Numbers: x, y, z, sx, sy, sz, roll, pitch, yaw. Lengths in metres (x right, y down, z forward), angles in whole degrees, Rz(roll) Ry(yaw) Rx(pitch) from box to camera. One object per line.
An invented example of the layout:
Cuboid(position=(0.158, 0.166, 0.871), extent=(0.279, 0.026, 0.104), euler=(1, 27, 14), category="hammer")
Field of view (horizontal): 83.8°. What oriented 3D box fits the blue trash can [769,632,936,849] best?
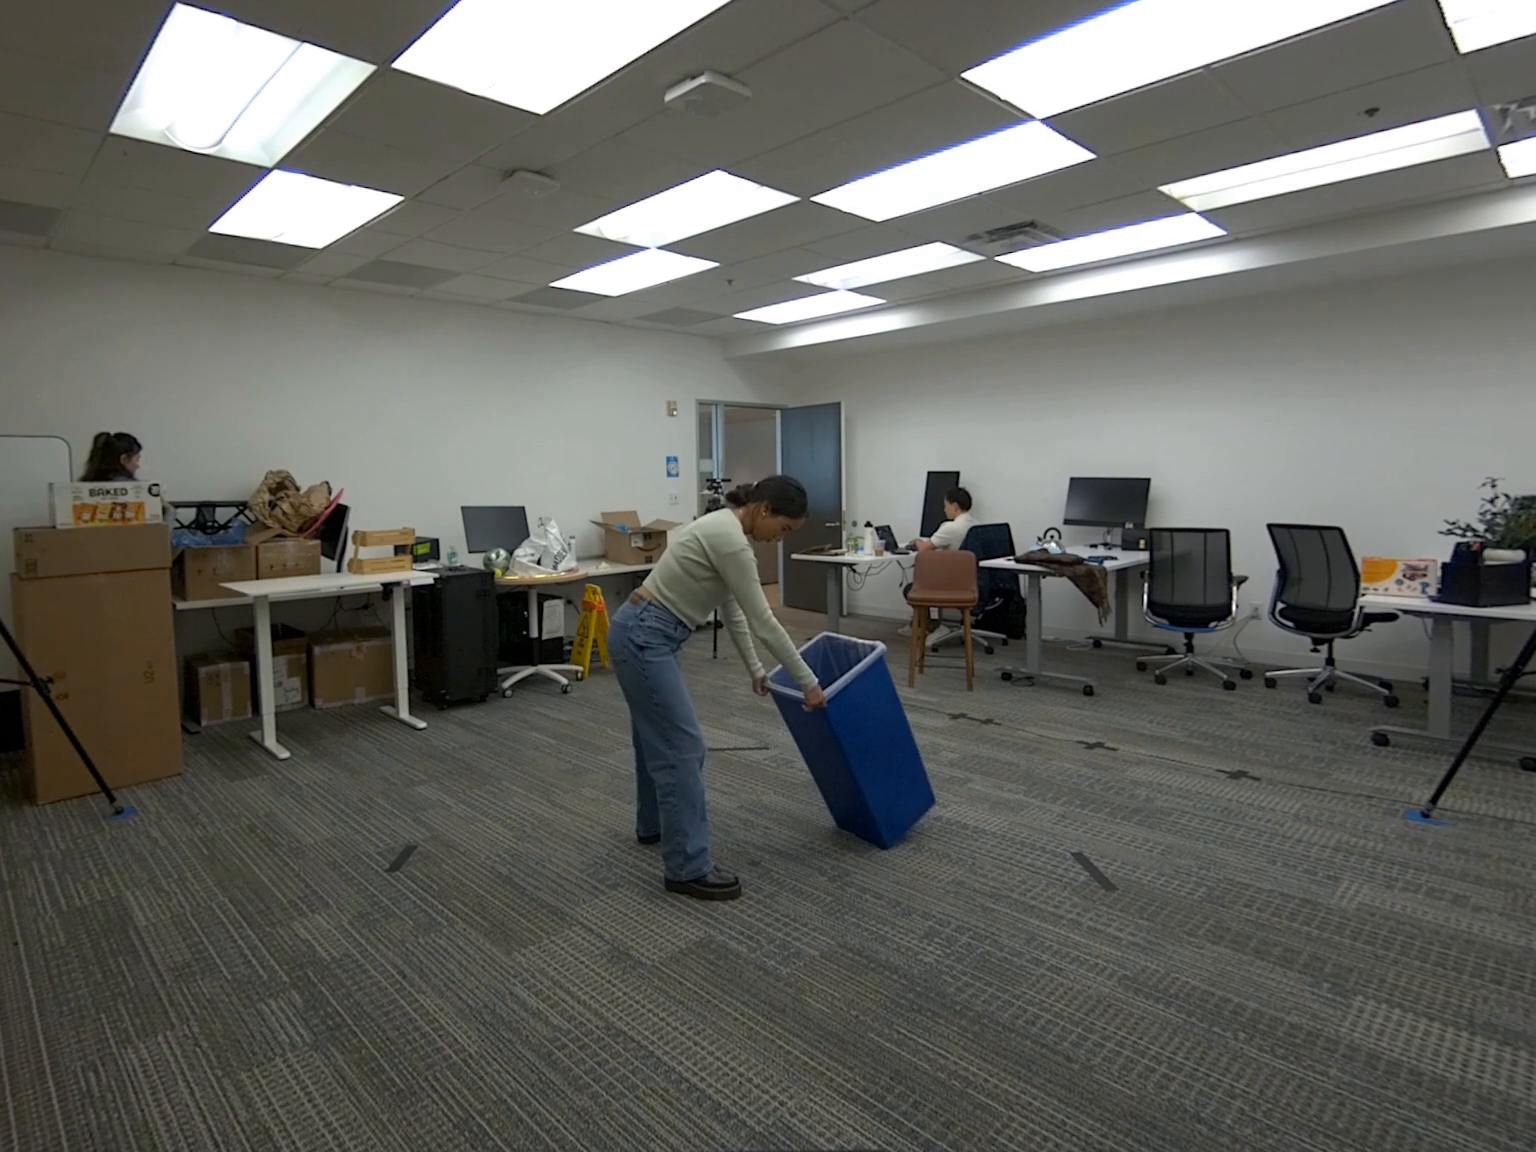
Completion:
Cuboid(position=(0.313, 0.636, 3.265), extent=(0.371, 0.700, 0.389), euler=(-32, 19, -28), category="blue trash can")
